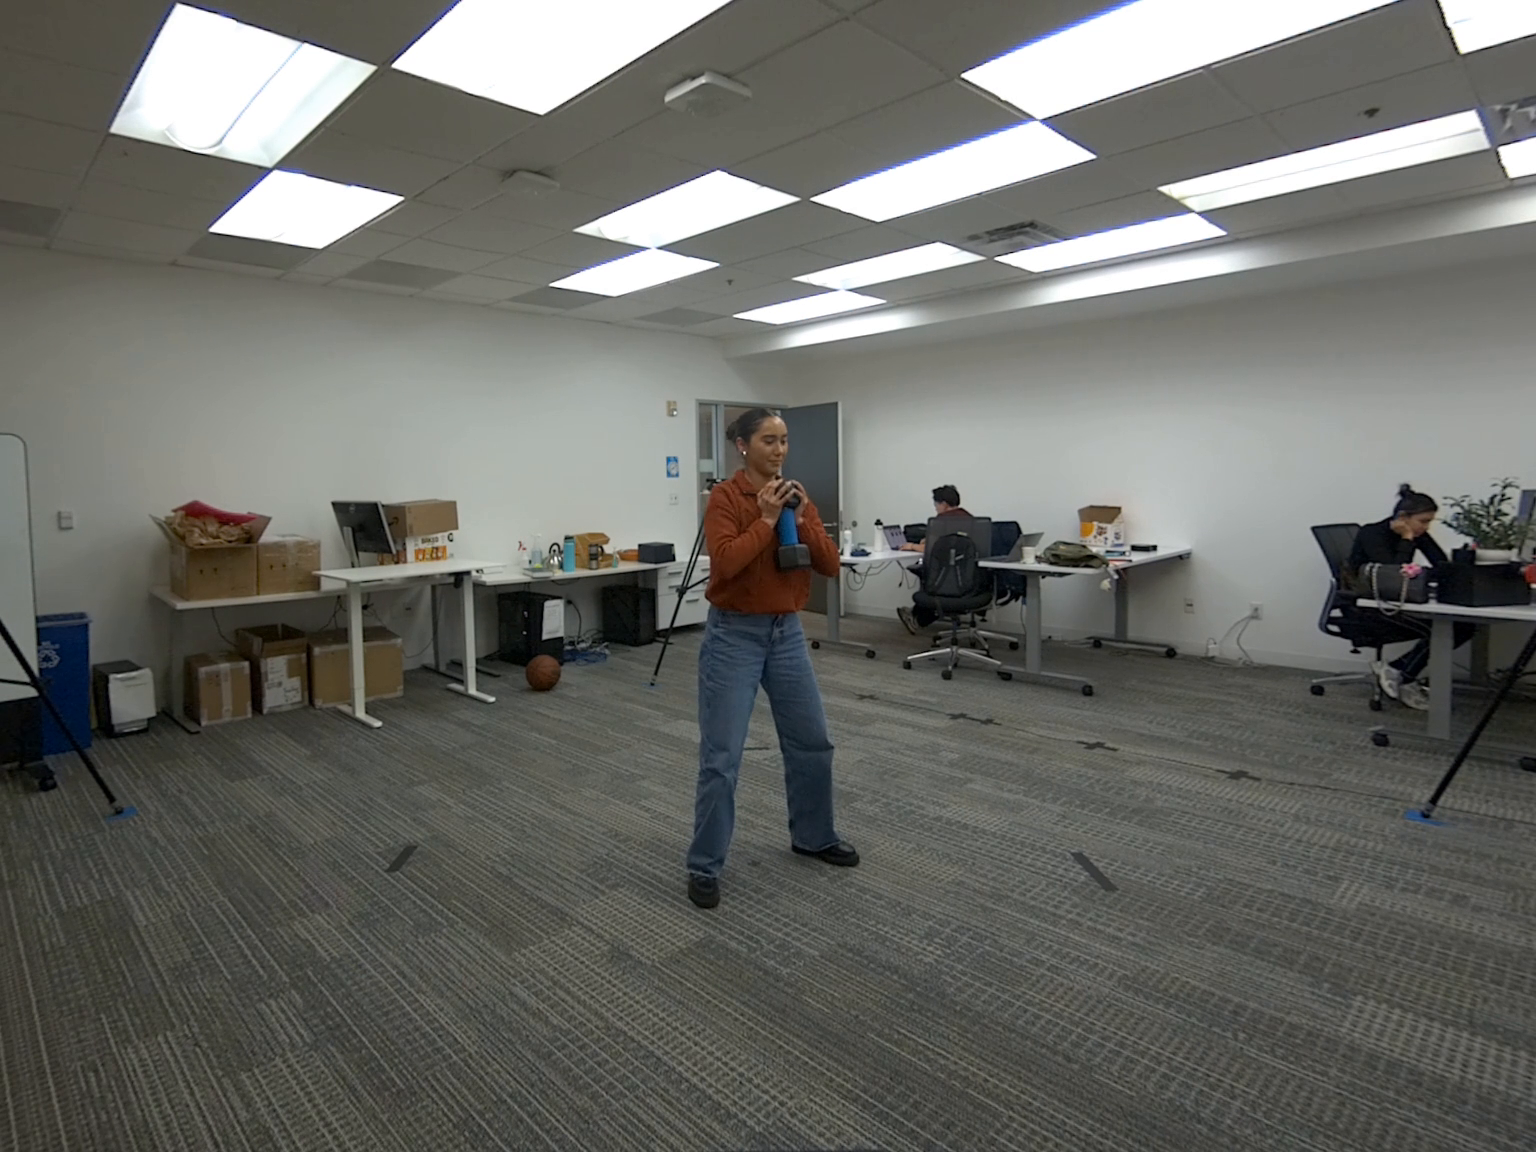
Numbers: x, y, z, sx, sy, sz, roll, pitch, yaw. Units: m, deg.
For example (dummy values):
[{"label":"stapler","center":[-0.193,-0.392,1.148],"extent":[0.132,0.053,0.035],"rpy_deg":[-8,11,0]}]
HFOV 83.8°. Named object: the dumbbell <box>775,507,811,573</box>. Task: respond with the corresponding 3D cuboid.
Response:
[{"label":"dumbbell","center":[0.050,-0.150,2.877],"extent":[0.111,0.297,0.119],"rpy_deg":[-17,-11,35]}]
